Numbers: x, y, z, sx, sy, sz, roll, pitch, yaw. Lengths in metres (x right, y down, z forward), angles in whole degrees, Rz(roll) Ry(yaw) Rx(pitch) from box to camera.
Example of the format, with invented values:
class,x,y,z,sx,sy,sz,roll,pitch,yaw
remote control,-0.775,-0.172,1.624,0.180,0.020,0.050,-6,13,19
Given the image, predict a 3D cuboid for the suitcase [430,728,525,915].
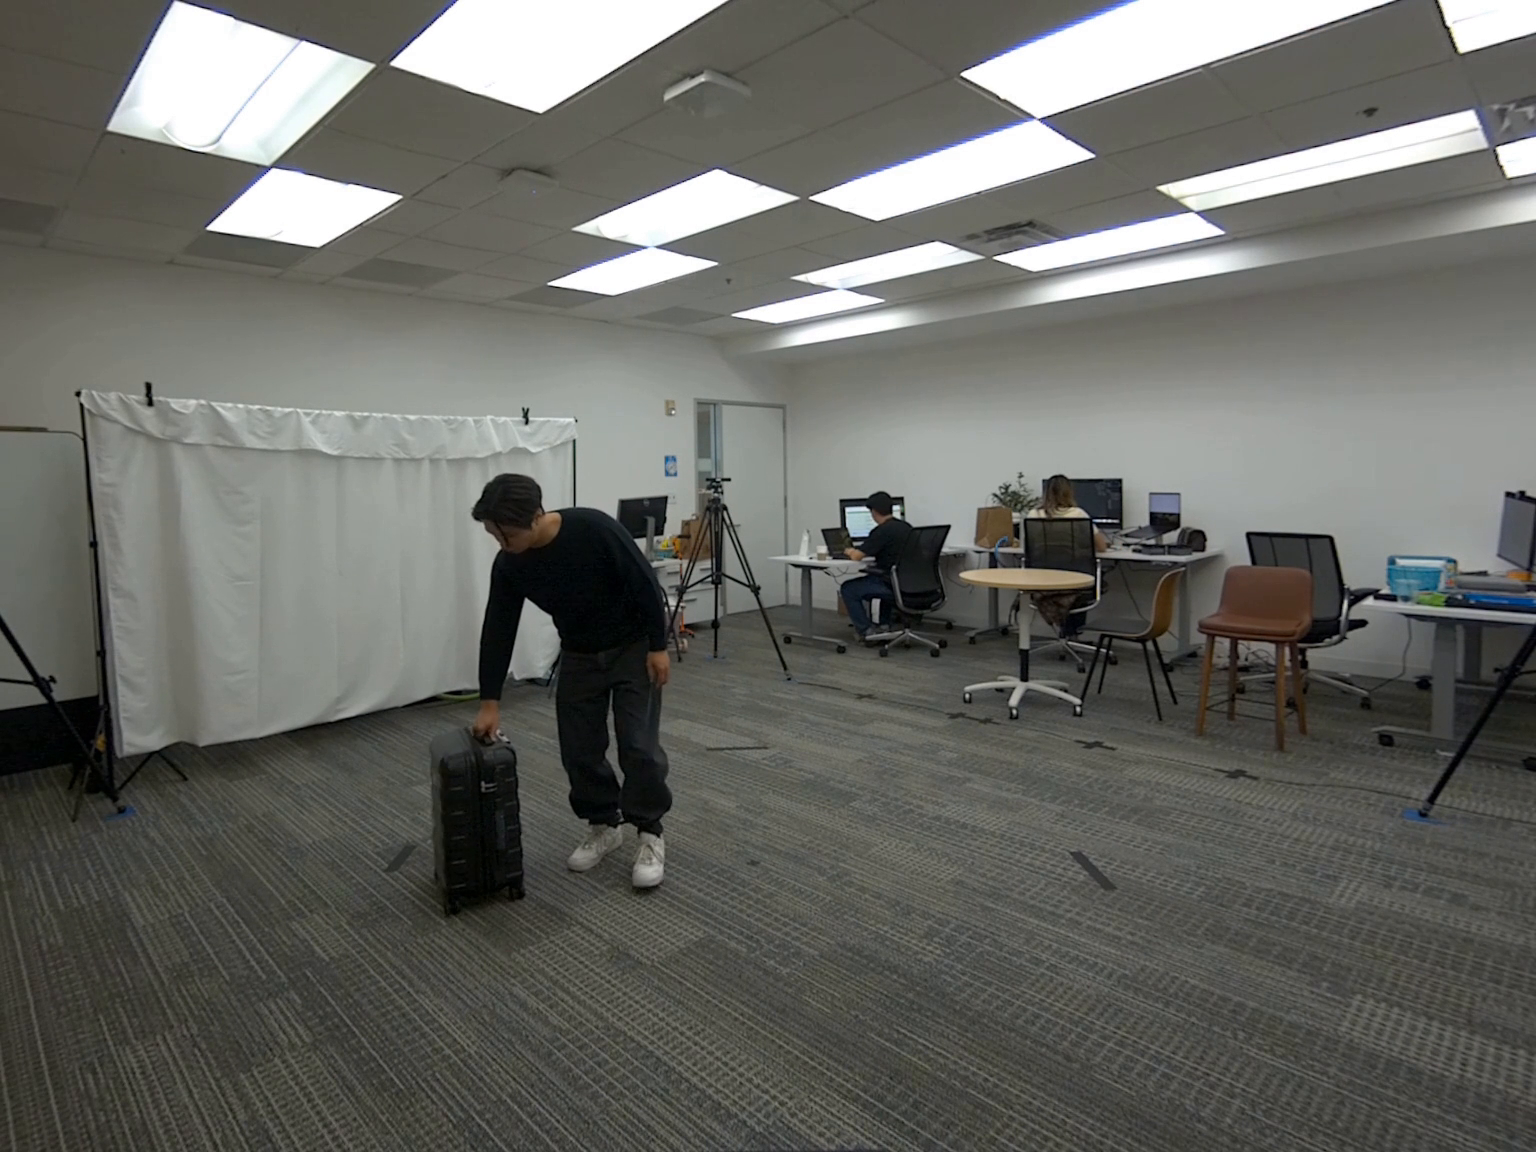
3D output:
class,x,y,z,sx,sy,sz,roll,pitch,yaw
suitcase,-0.999,0.807,2.919,0.243,0.546,0.385,-4,7,-27
